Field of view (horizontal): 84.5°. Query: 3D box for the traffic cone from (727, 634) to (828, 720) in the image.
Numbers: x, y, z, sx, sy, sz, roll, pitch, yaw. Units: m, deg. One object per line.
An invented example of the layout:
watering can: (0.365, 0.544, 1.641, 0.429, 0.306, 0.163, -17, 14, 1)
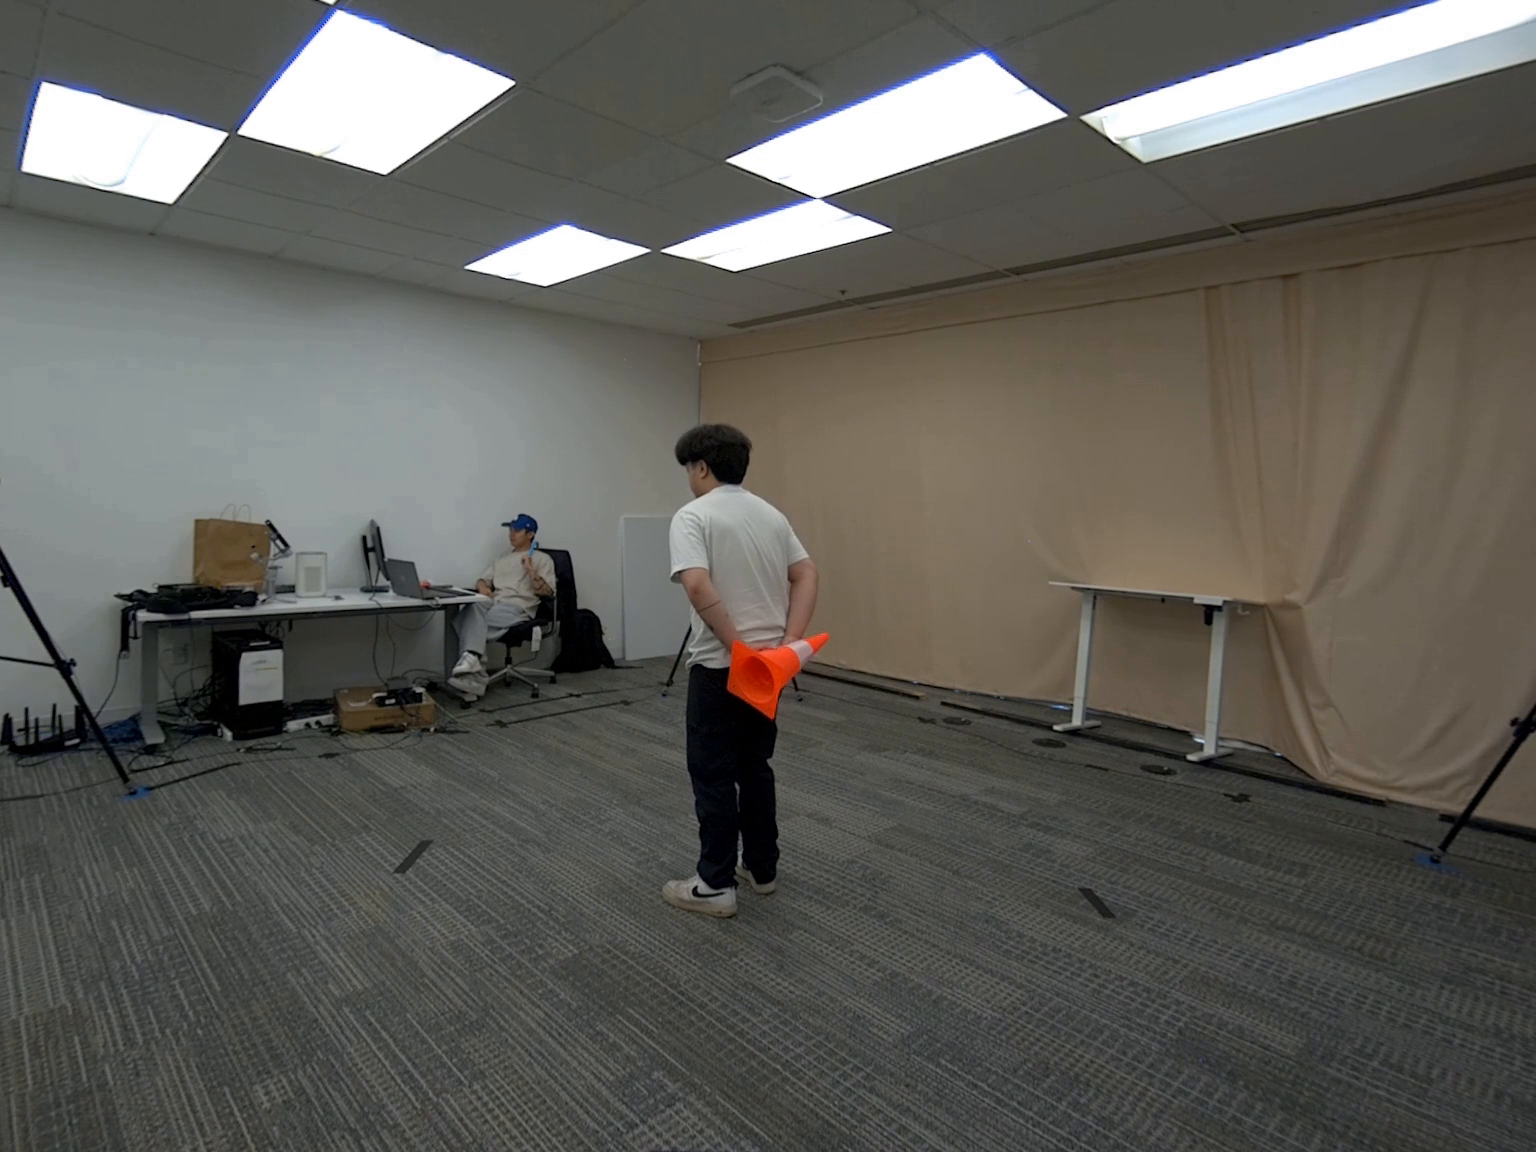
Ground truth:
traffic cone: (0.072, 0.273, 2.751, 0.211, 0.200, 0.378, 30, 34, 32)
